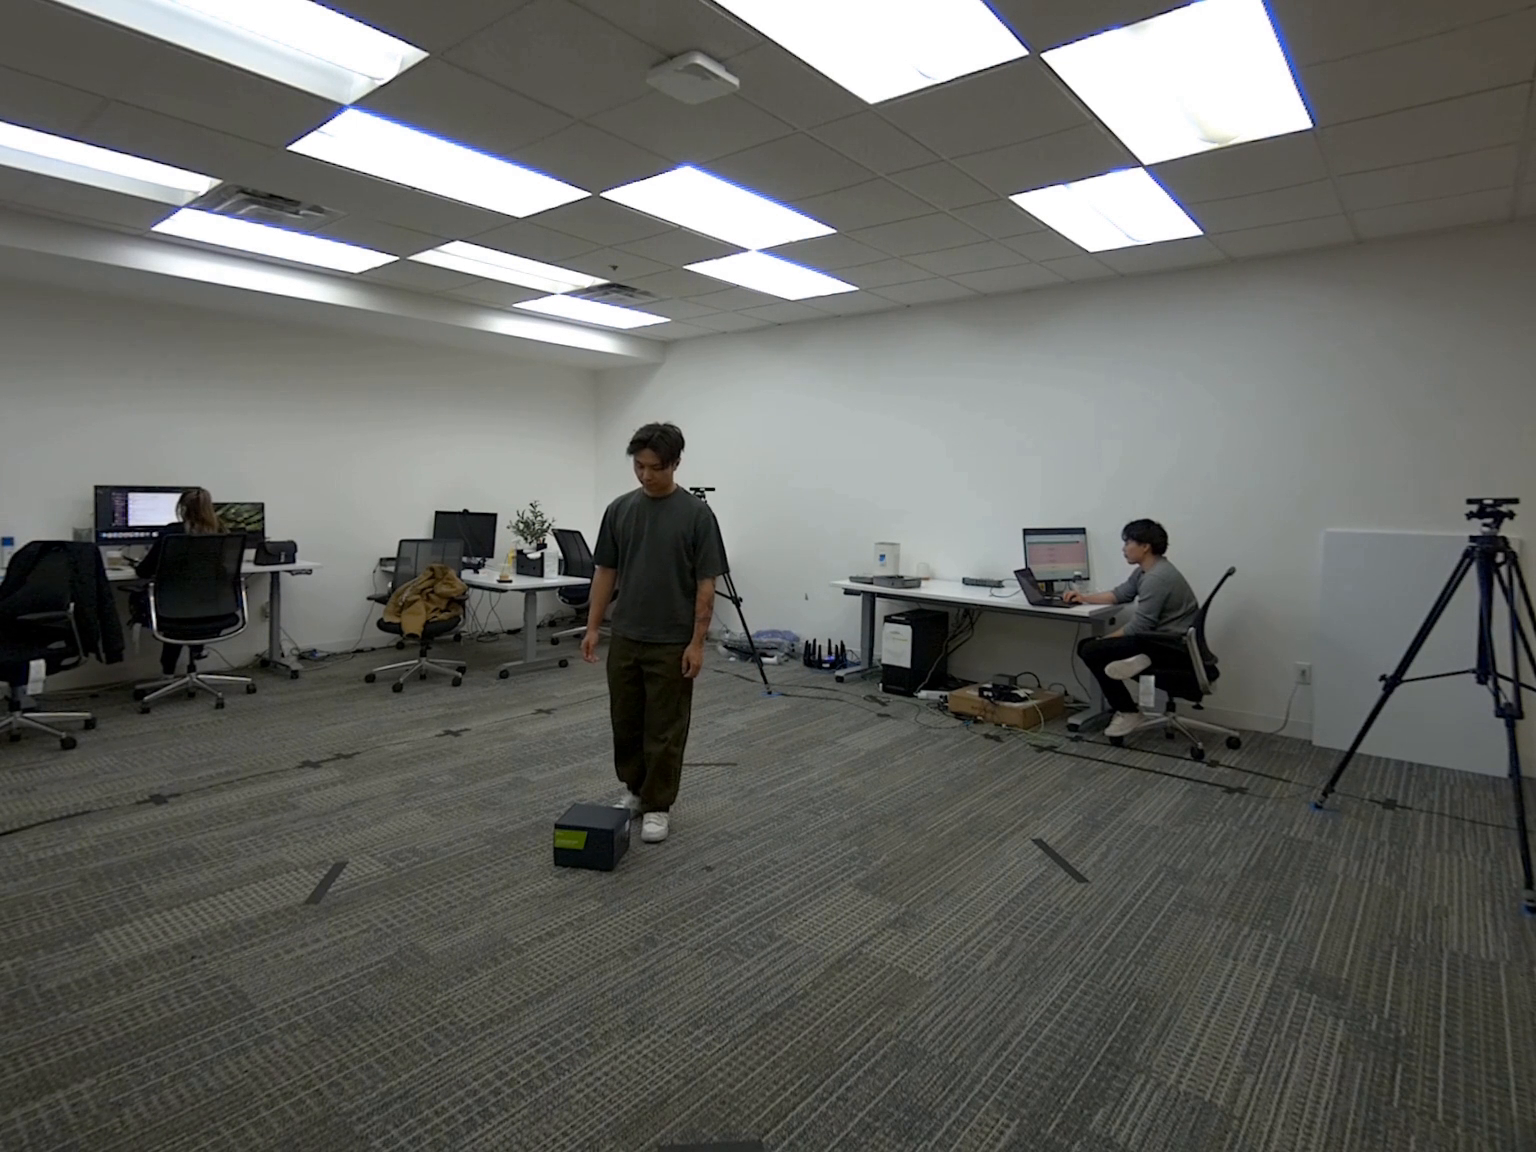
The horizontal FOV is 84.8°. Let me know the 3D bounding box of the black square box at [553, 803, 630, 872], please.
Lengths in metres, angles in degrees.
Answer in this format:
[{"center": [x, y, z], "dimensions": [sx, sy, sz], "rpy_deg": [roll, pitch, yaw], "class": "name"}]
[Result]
[{"center": [-0.669, 0.966, 3.181], "dimensions": [0.230, 0.155, 0.215], "rpy_deg": [2, 5, 9], "class": "black square box"}]
